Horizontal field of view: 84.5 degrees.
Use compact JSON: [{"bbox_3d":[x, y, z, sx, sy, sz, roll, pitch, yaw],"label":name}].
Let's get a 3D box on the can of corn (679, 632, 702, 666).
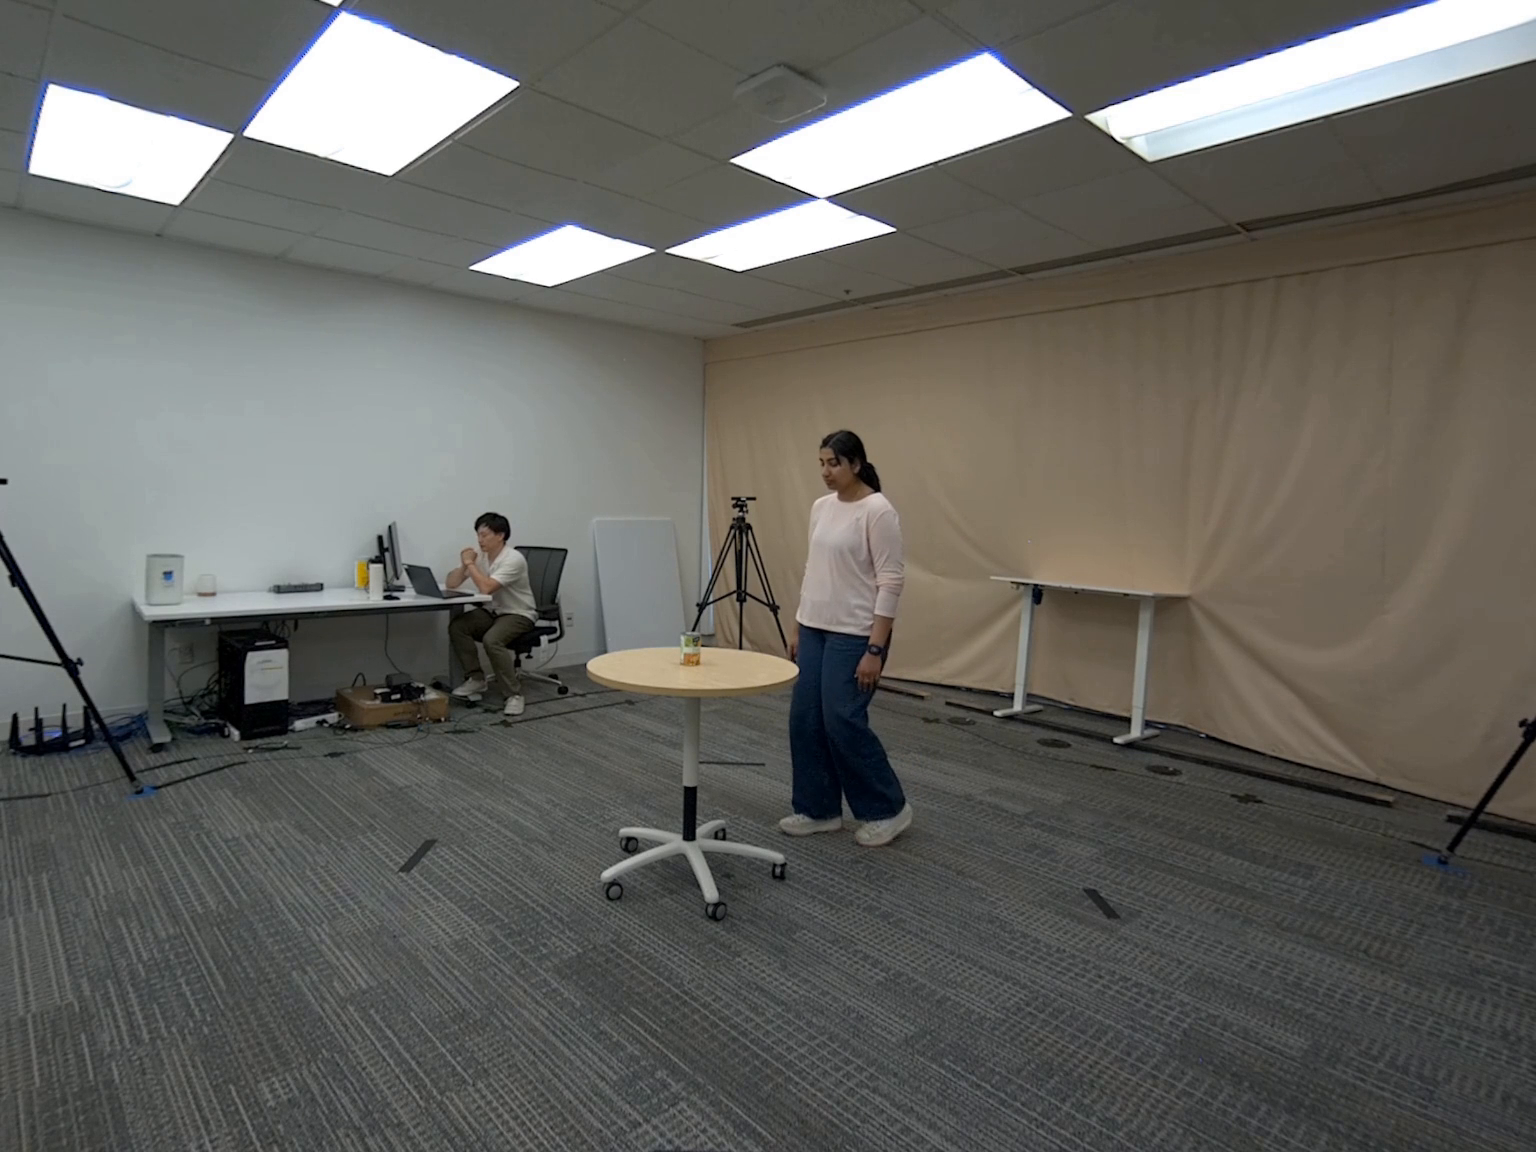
[{"bbox_3d":[-0.289,0.269,3.068,0.074,0.111,0.074,1,4,-1],"label":"can of corn"}]
